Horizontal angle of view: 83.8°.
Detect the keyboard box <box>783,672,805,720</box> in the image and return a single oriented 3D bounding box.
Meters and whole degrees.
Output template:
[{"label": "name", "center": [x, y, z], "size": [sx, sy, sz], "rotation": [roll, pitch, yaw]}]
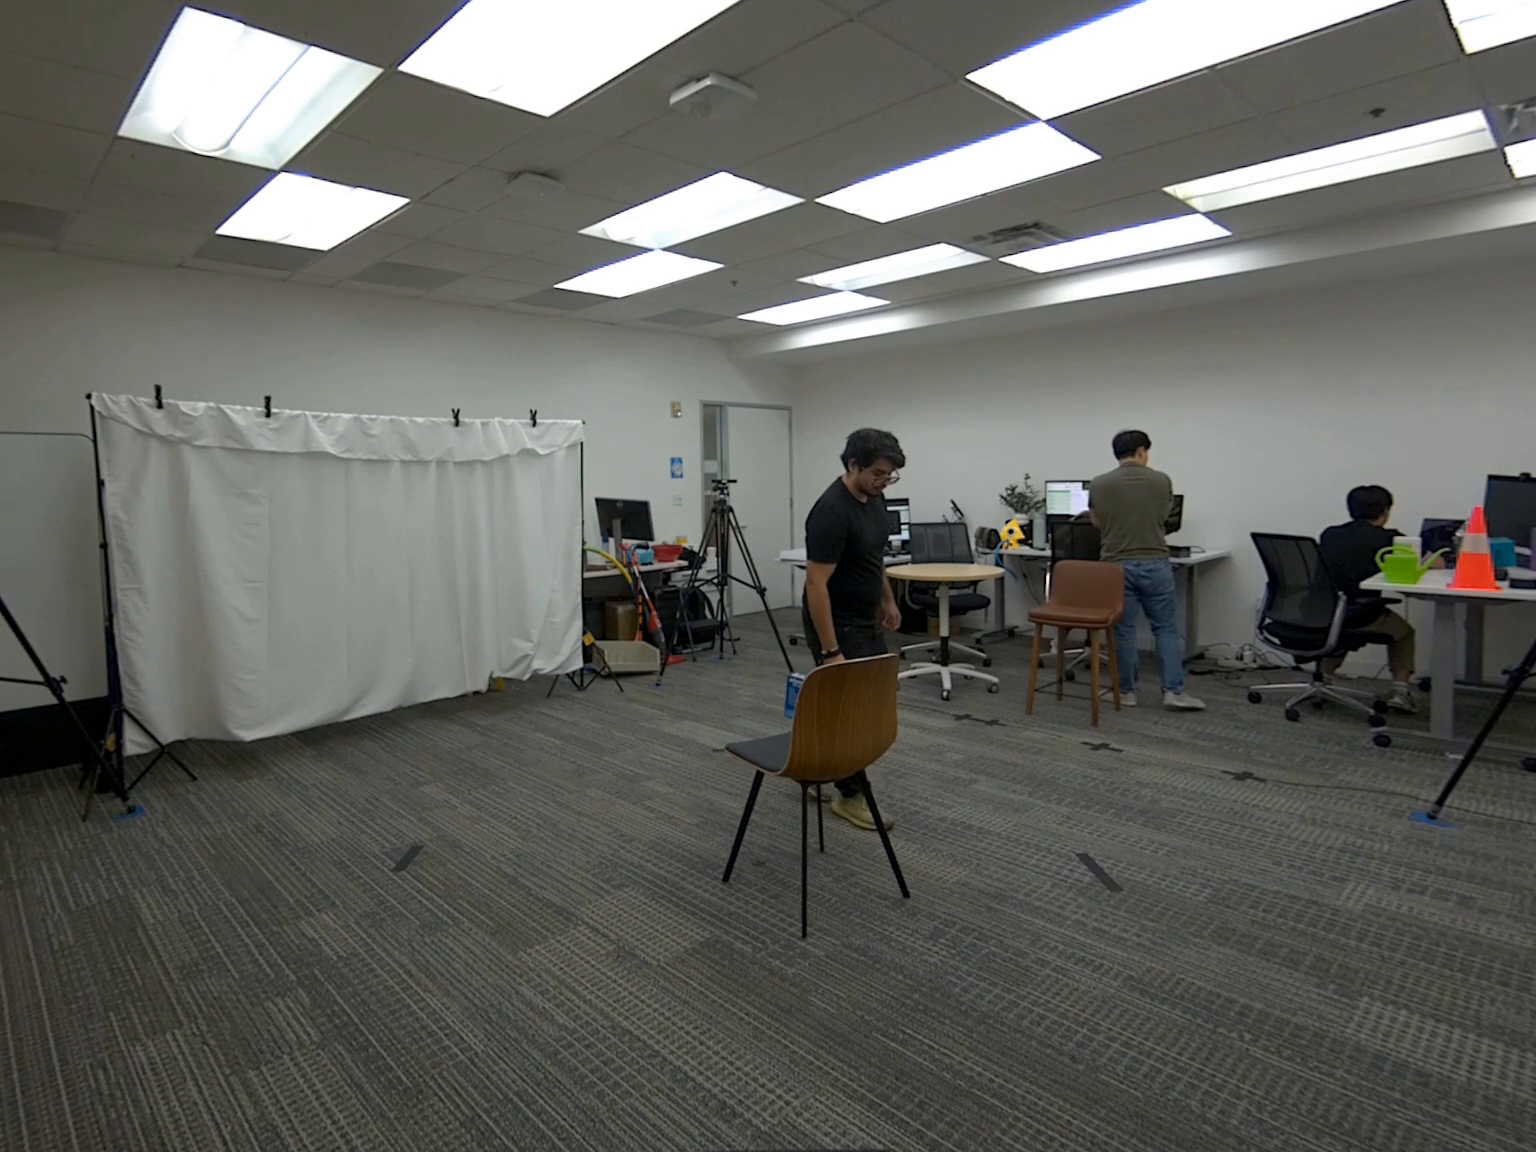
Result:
[{"label": "keyboard box", "center": [0.273, 0.515, 3.289], "size": [0.451, 0.175, 0.057], "rotation": [12, 10, 38]}]
